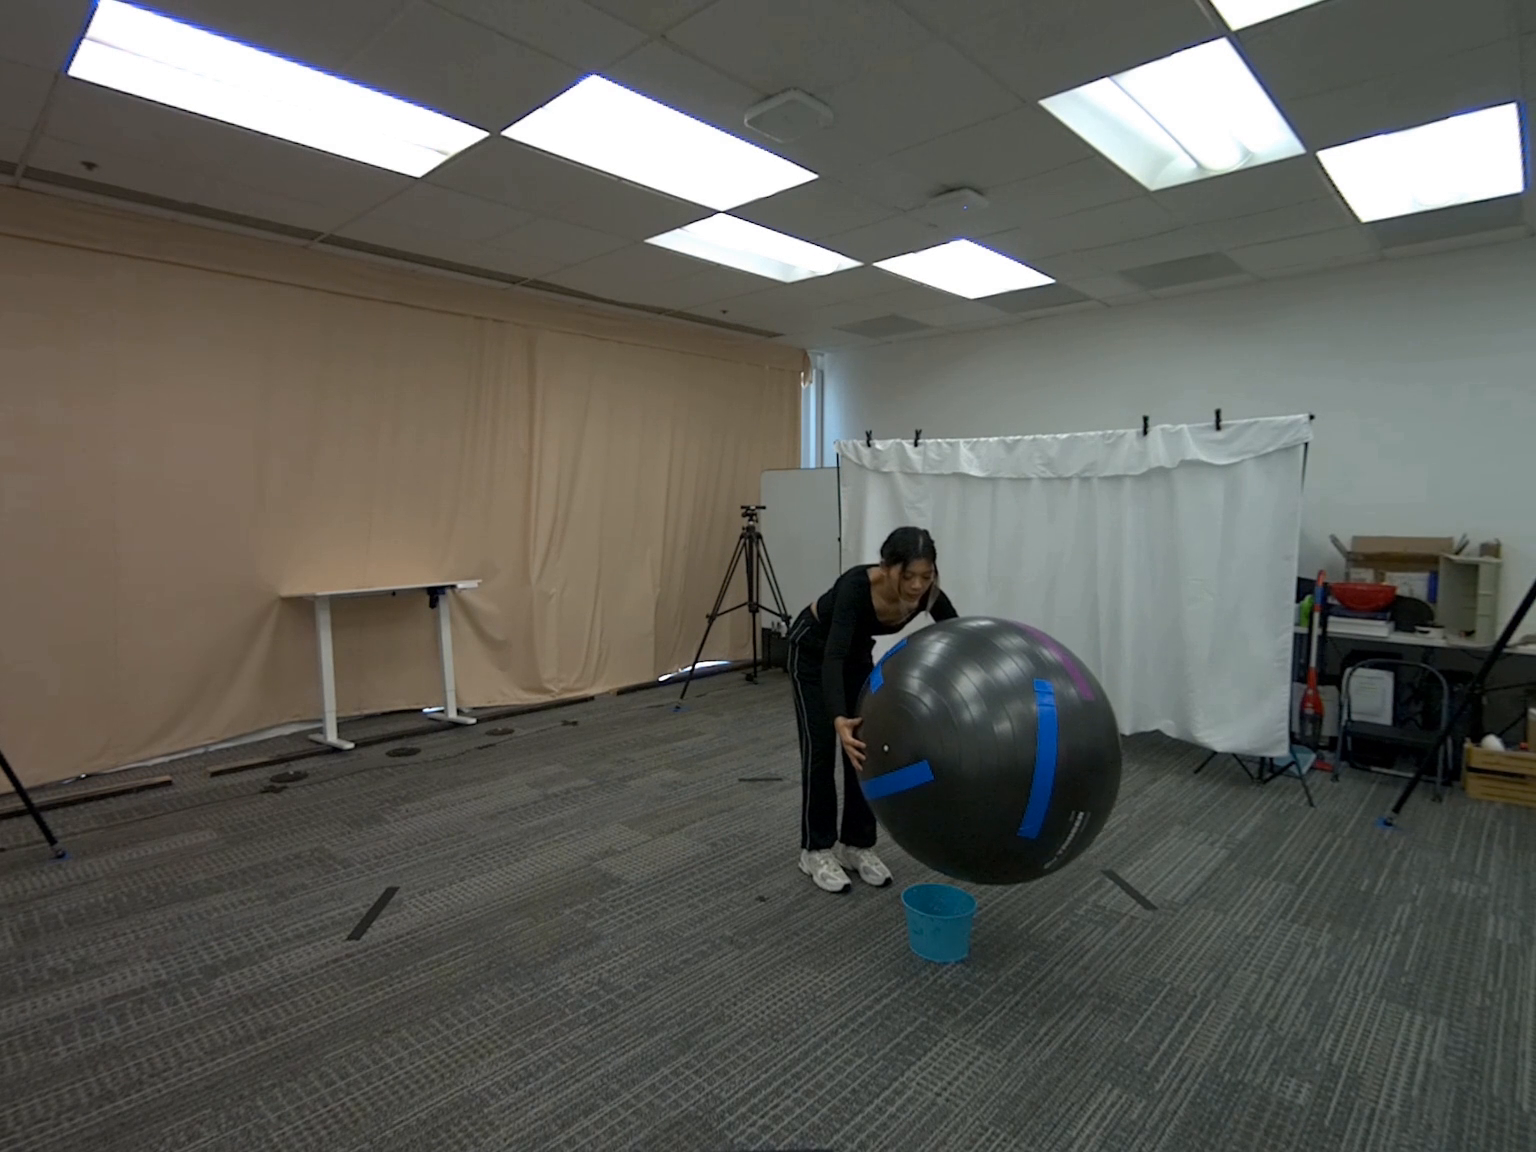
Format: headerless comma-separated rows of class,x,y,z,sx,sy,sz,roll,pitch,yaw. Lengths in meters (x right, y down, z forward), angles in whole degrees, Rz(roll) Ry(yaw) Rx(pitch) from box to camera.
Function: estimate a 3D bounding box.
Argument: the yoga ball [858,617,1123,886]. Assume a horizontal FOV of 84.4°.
yoga ball,0.638,0.501,2.474,0.757,0.756,0.760,0,4,-2
